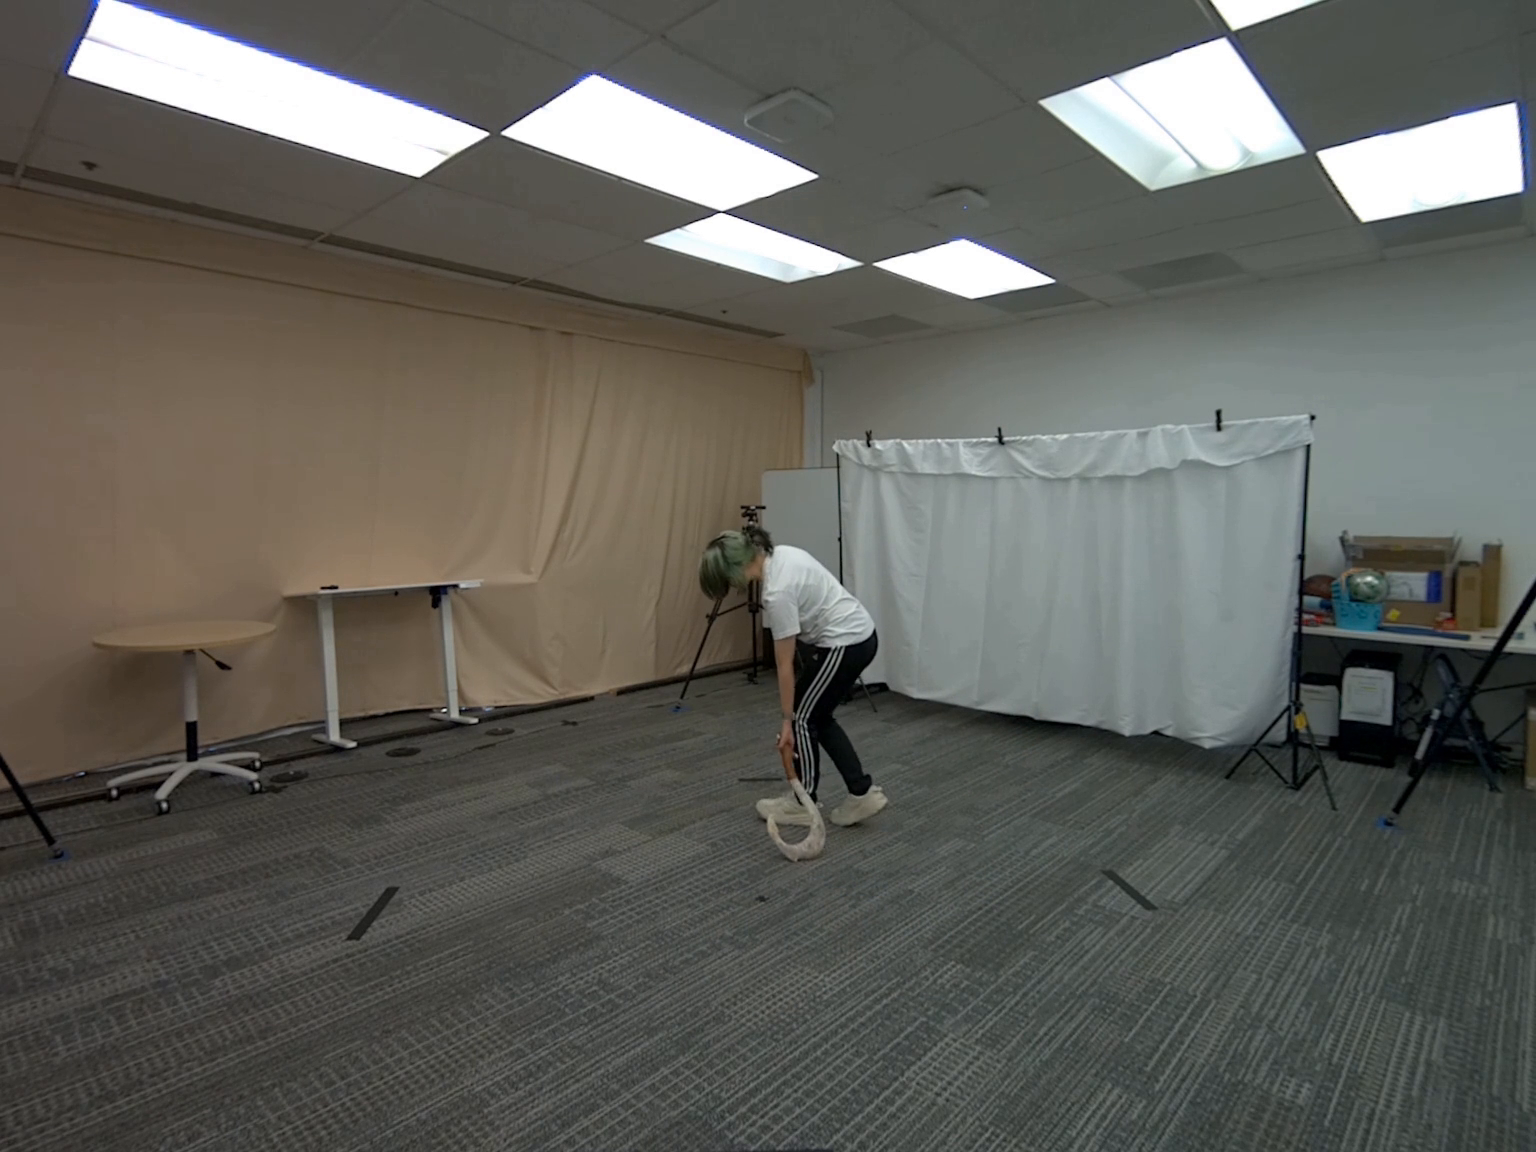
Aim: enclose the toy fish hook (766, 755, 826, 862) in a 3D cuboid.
[{"bbox_3d":[0.075,0.880,3.401,0.221,0.518,0.048,-9,-28,-16],"label":"toy fish hook"}]
